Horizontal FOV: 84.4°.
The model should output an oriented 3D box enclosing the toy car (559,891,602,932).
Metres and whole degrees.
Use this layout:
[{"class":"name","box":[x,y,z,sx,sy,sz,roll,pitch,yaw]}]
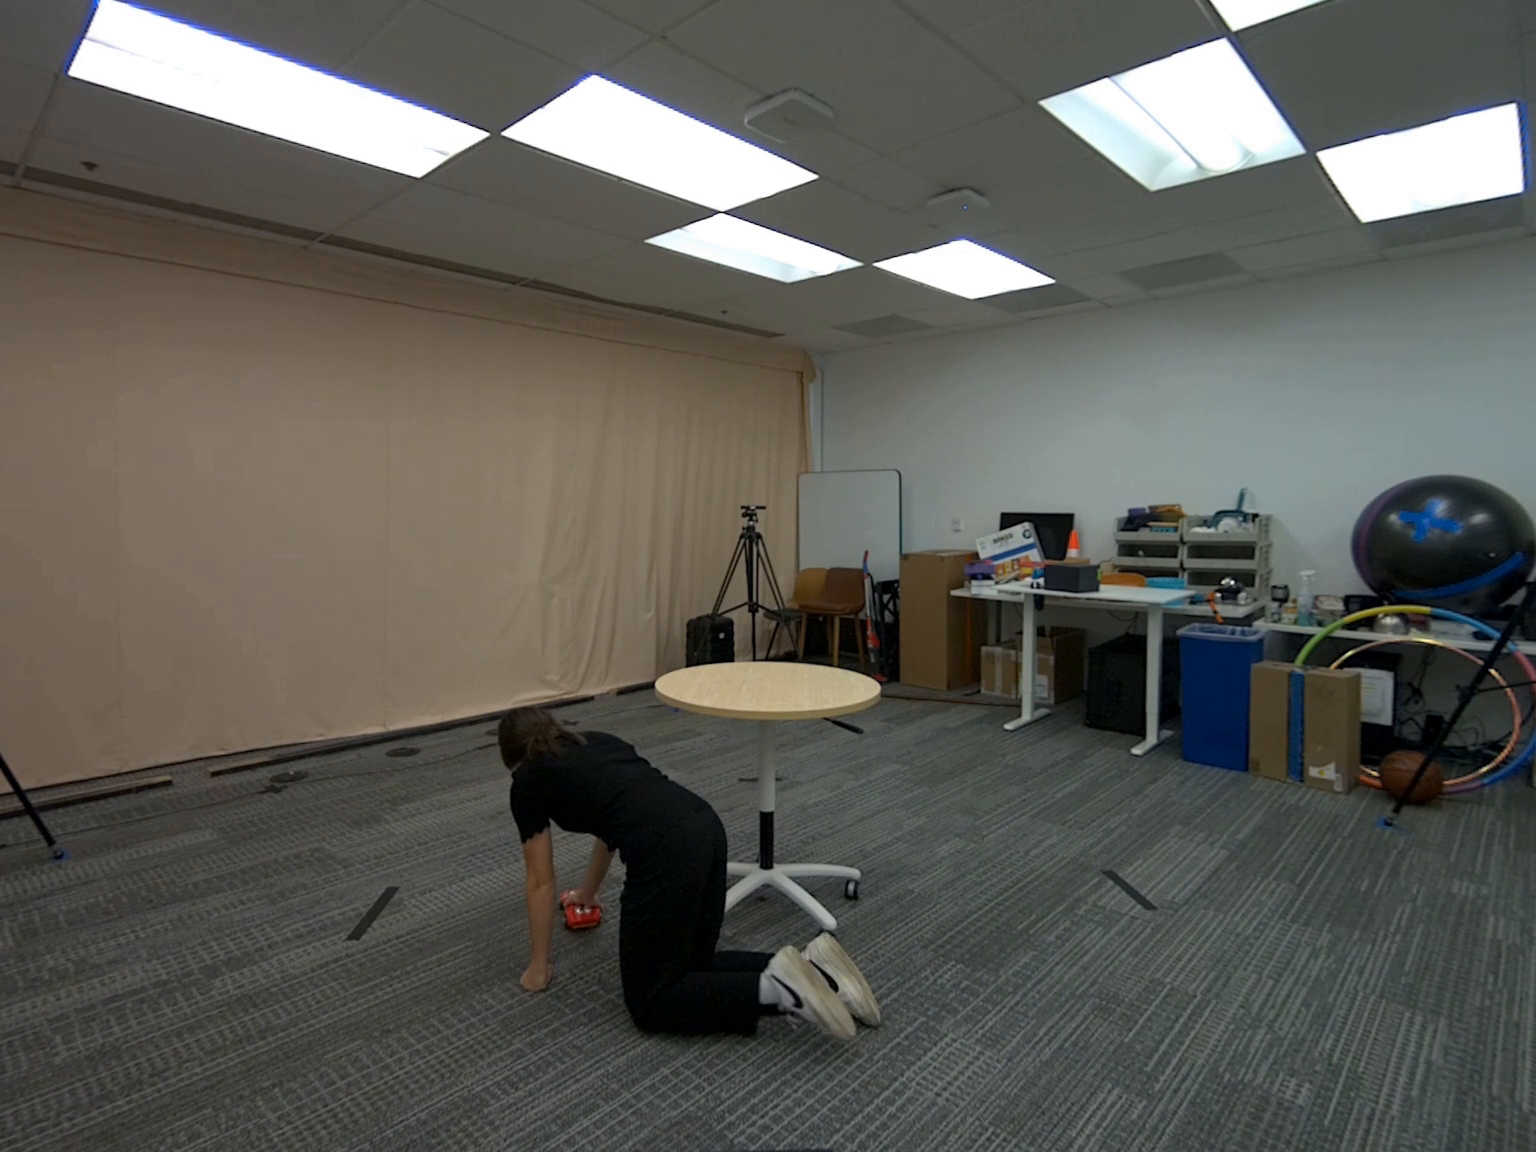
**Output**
[{"class":"toy car","box":[-0.642,1.133,2.846,0.128,0.083,0.258,-1,-6,-19]}]
